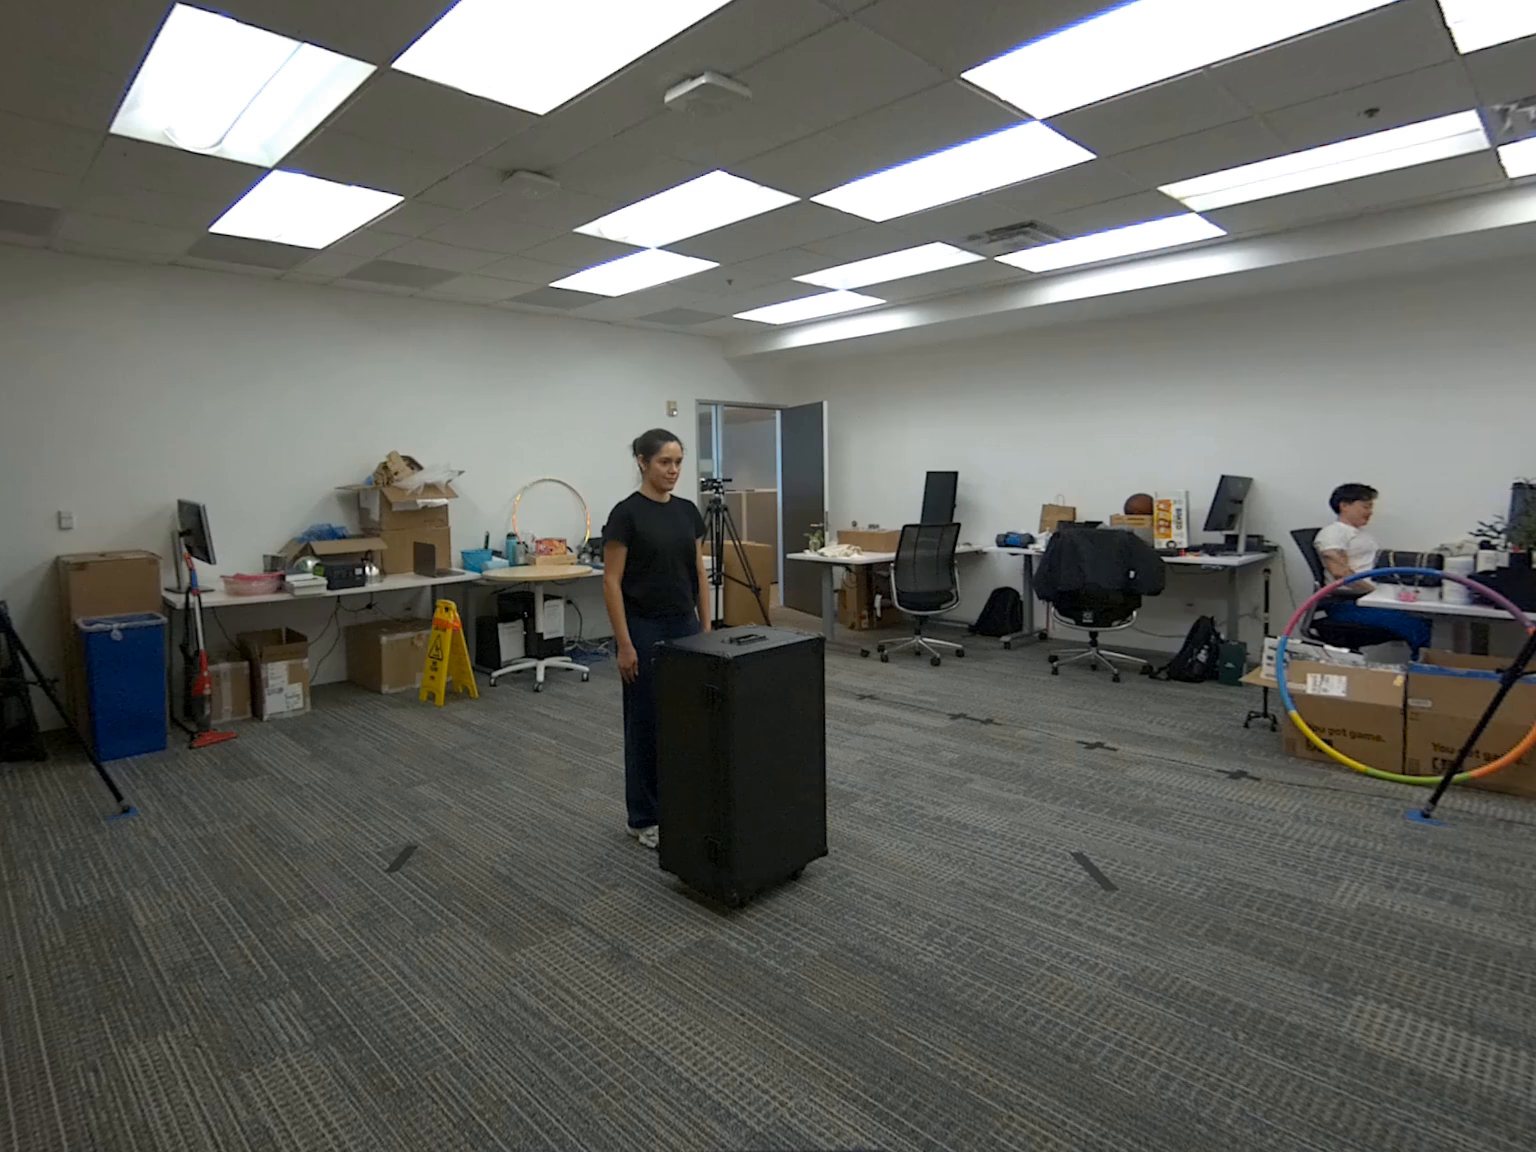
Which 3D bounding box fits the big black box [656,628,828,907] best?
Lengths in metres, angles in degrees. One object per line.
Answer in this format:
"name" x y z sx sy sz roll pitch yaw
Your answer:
"big black box" -0.089 0.568 2.956 0.408 0.859 0.507 2 5 44
